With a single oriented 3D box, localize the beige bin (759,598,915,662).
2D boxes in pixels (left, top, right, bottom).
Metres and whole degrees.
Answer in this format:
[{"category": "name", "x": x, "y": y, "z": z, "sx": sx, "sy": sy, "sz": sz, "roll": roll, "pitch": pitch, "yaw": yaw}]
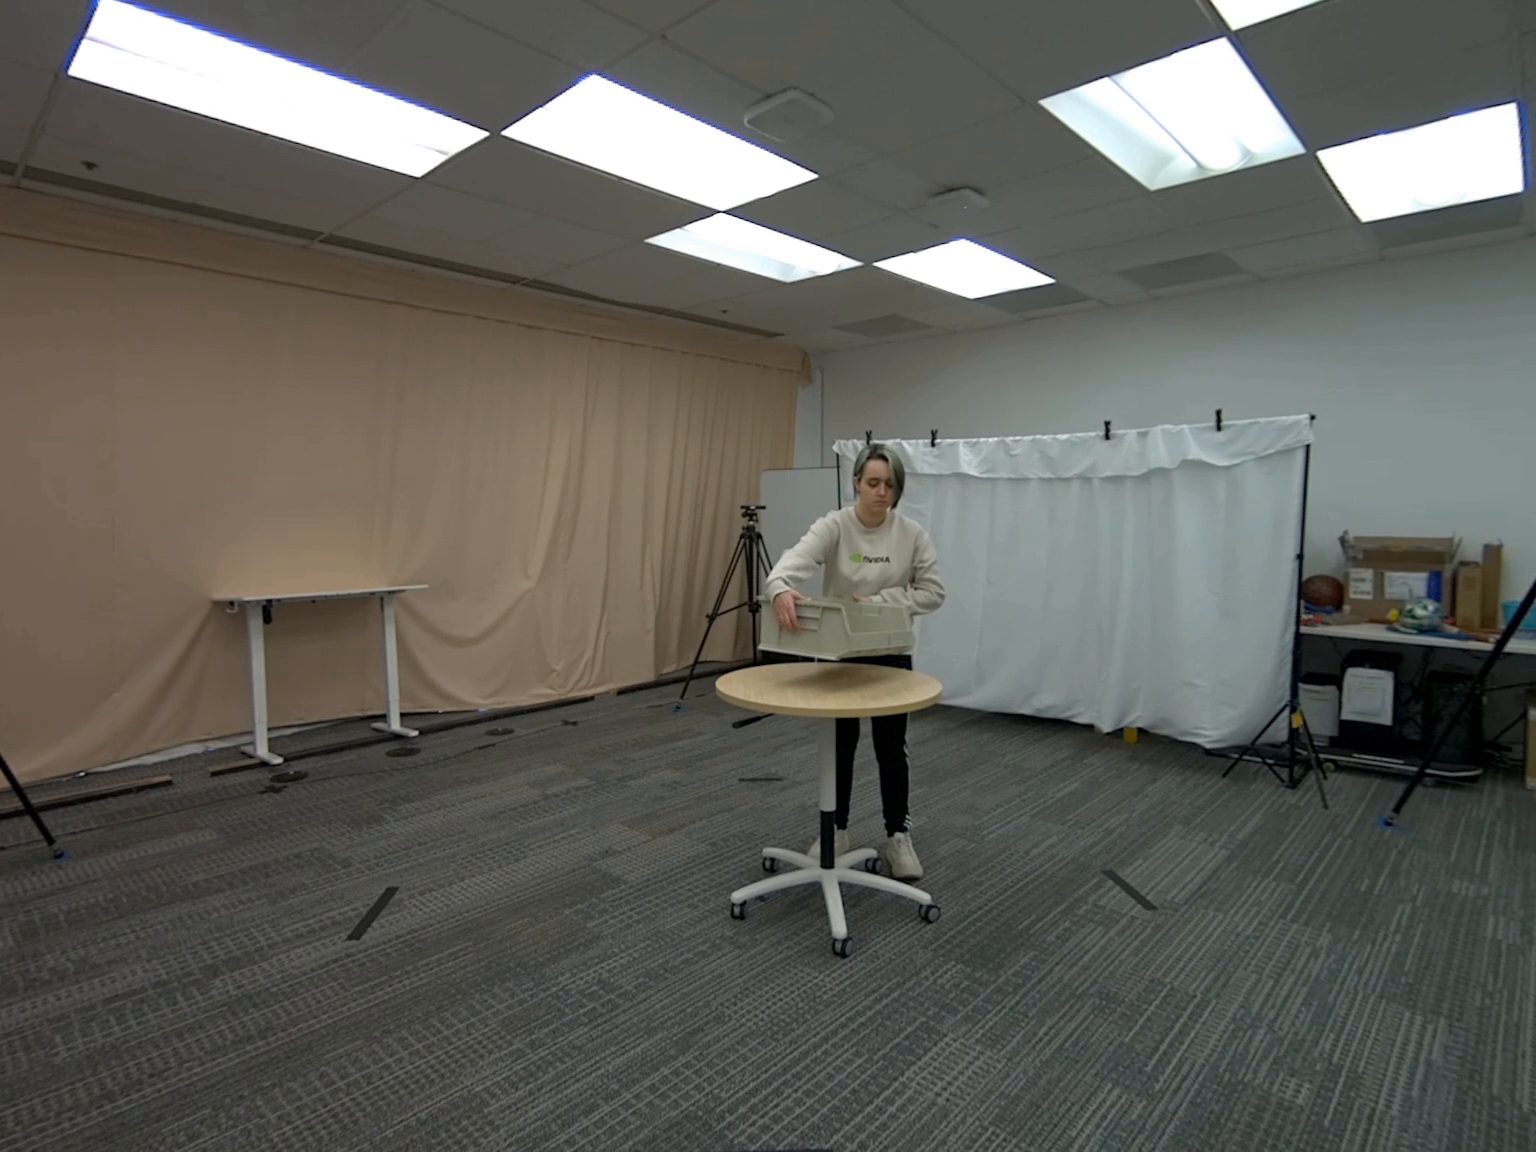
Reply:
[{"category": "beige bin", "x": 0.236, "y": 0.180, "z": 2.902, "sx": 0.390, "sy": 0.189, "sz": 0.409, "roll": 4, "pitch": 2, "yaw": 40}]
